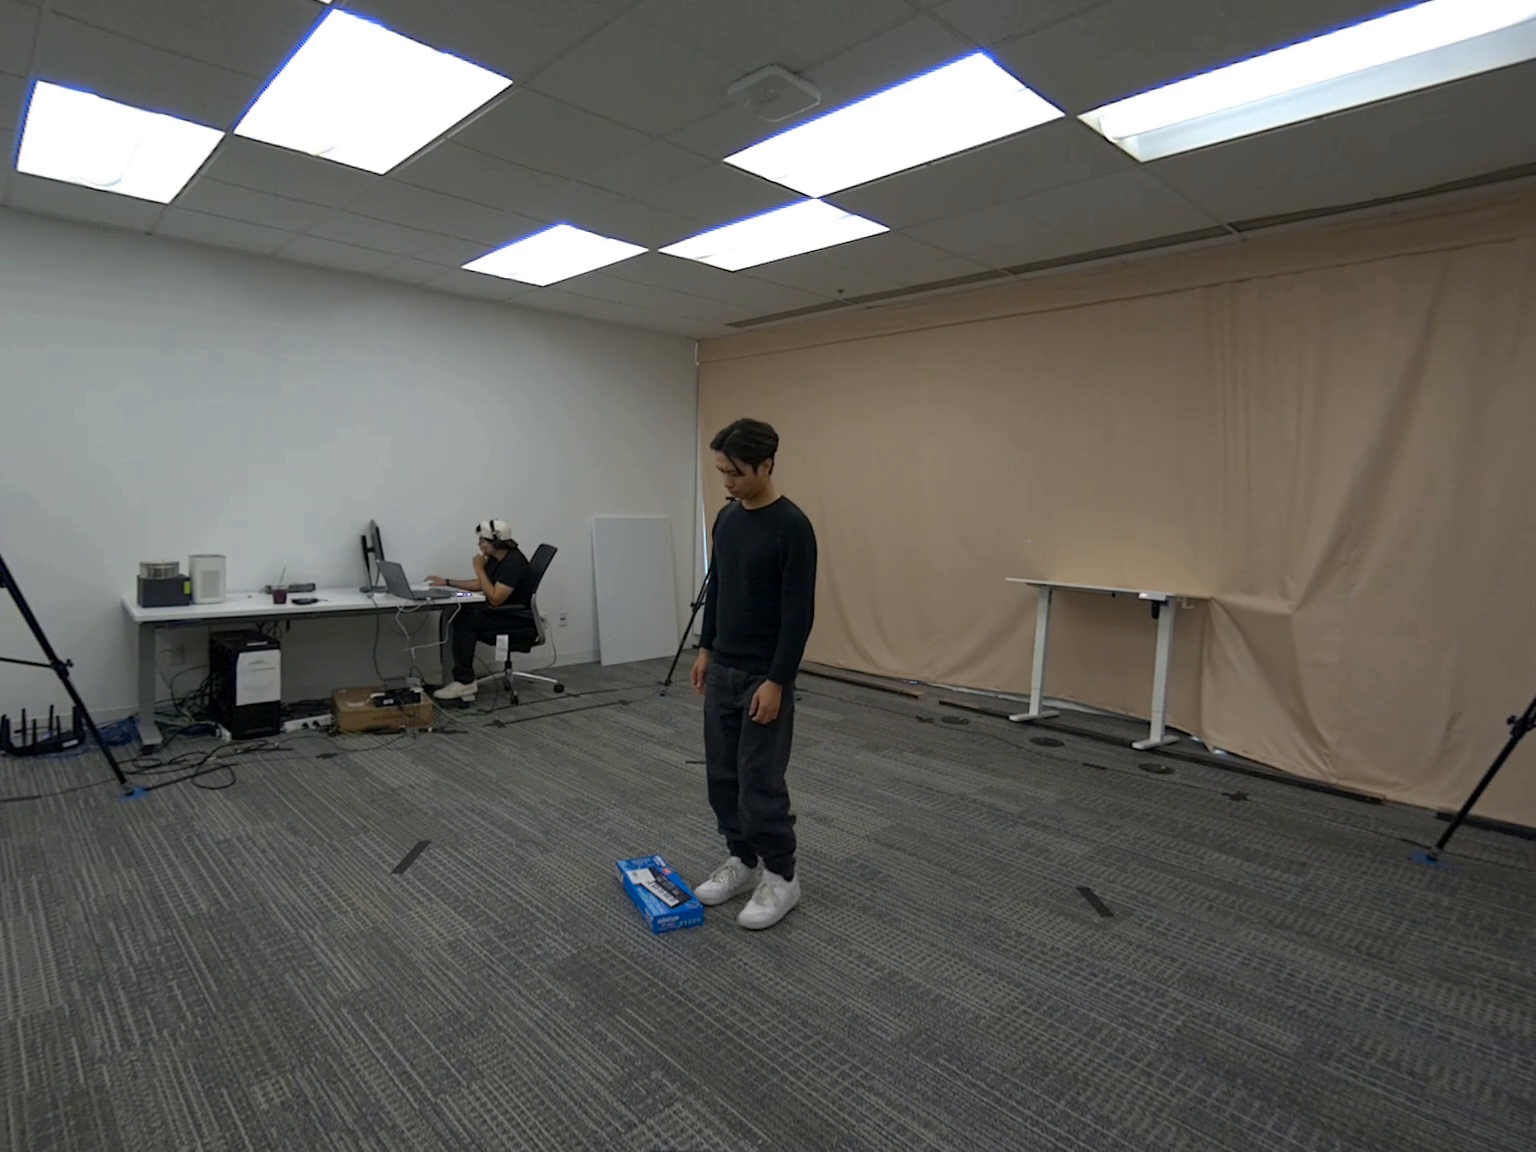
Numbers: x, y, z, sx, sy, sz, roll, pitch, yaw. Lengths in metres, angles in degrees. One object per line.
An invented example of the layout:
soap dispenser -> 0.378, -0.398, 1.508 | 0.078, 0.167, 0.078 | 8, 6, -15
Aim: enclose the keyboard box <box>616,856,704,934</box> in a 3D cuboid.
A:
keyboard box -> -0.389, 1.087, 2.906 | 0.173, 0.059, 0.446 | -2, 6, -26
